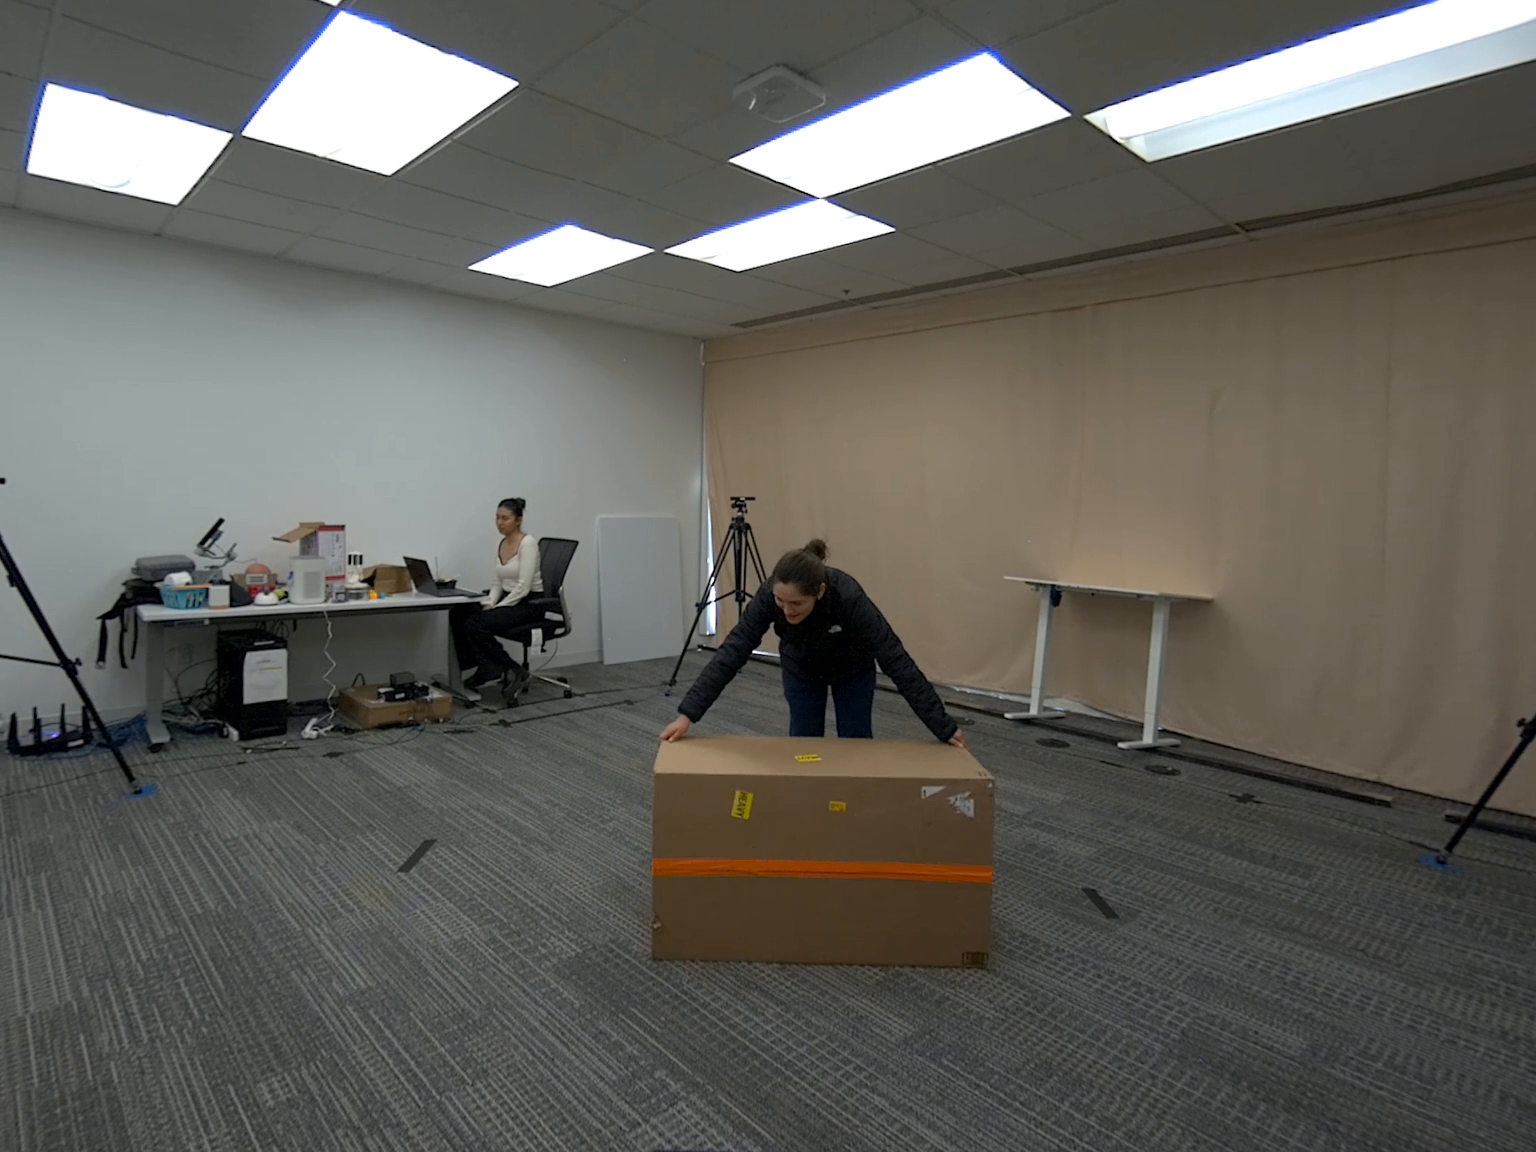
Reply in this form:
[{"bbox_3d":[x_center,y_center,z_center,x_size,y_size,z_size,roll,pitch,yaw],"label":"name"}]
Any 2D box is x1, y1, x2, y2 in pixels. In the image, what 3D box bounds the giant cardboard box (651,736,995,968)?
[{"bbox_3d":[0.153,0.862,2.705,1.026,0.582,0.448,1,4,-1],"label":"giant cardboard box"}]
